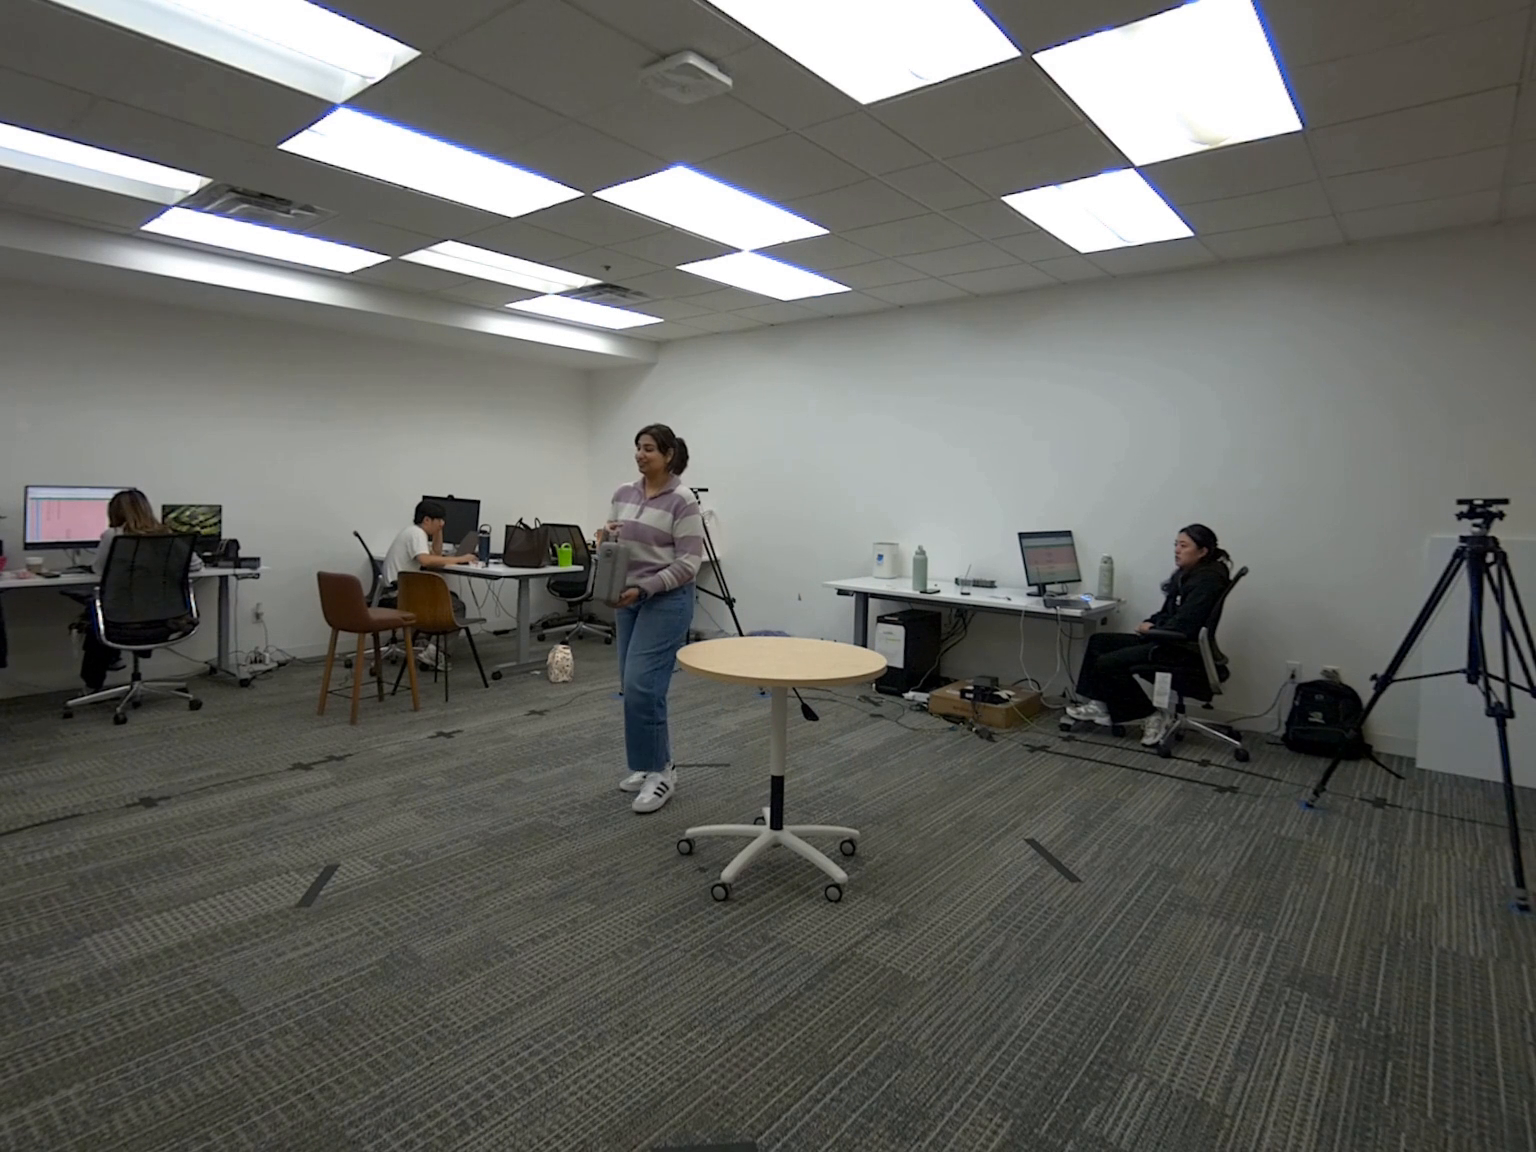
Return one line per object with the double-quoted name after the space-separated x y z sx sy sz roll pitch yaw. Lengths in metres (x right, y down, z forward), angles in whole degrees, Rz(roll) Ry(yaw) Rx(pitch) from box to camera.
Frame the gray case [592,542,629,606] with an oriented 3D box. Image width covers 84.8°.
-0.665 -0.018 3.603 0.104 0.262 0.256 3 -5 -3 "gray case"
